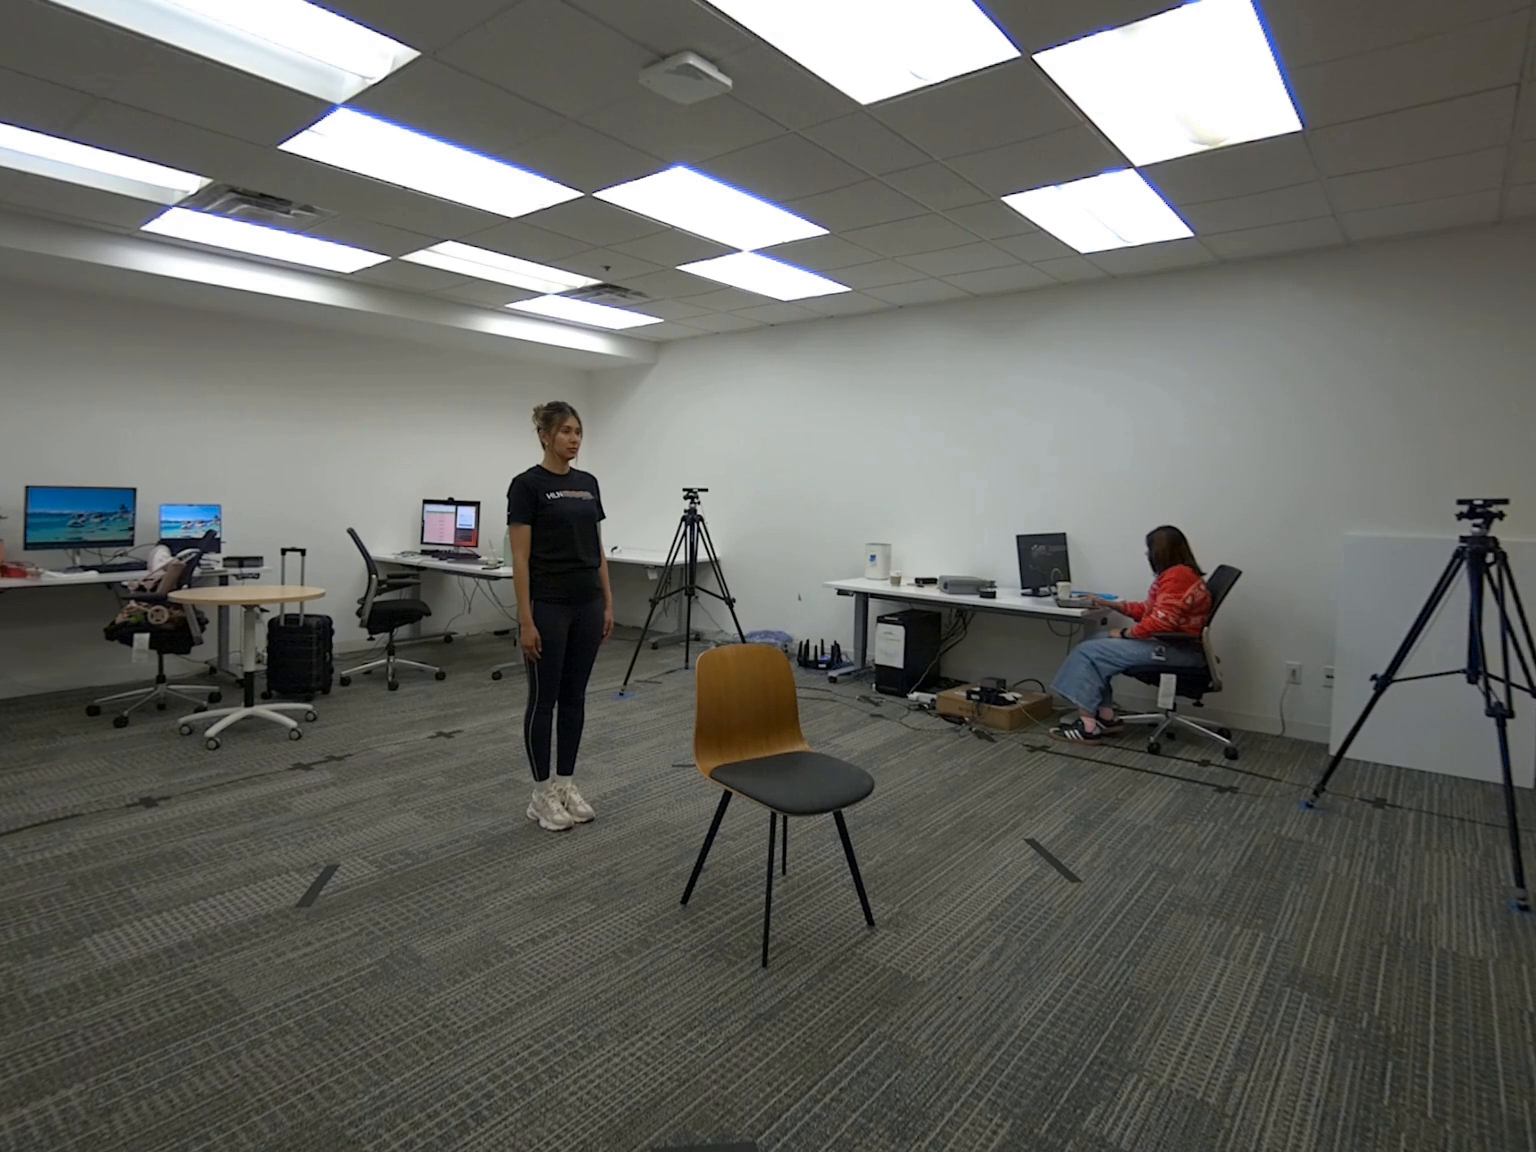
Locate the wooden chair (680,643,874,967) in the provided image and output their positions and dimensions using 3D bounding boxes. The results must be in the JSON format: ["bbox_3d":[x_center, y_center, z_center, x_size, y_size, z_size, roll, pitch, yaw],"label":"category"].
[{"bbox_3d":[0.036,0.683,2.749,0.464,0.878,0.539,-1,0,-37],"label":"wooden chair"}]
